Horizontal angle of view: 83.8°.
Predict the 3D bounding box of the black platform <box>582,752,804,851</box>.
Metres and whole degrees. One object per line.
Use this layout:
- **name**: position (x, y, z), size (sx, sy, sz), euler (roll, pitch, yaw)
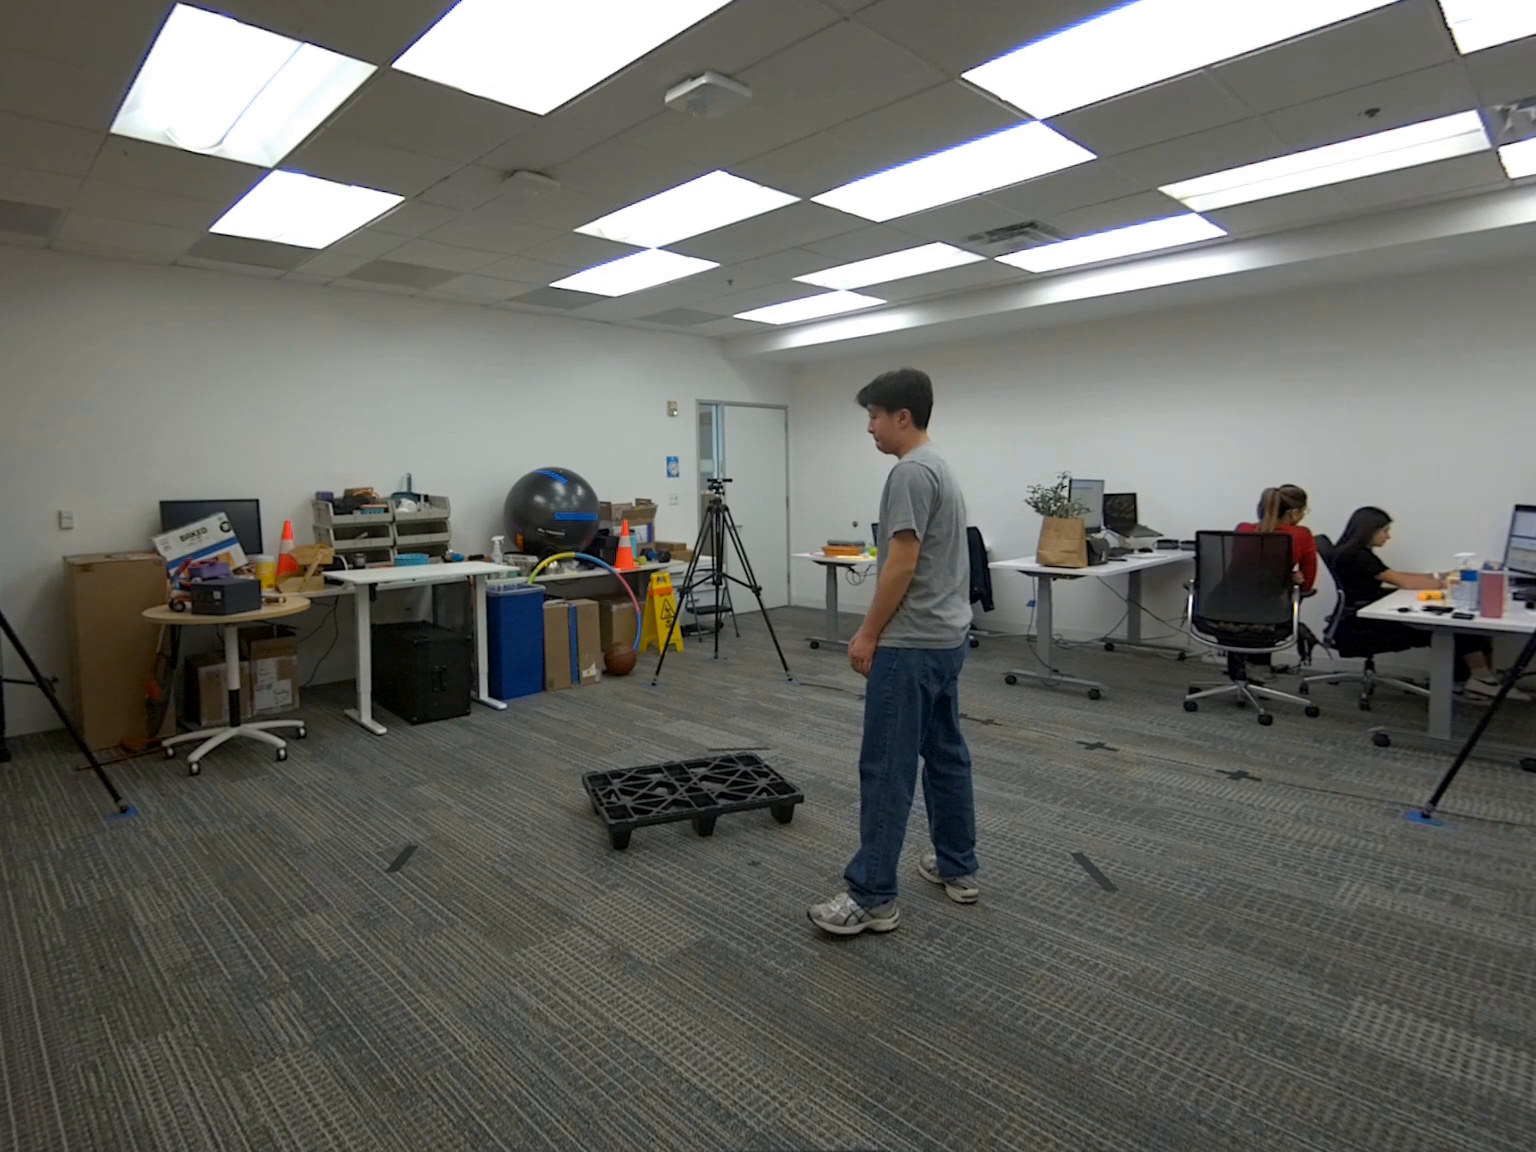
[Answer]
- **black platform**: position (-0.322, 0.931, 3.564), size (0.792, 0.142, 0.618), euler (-4, 7, -20)
